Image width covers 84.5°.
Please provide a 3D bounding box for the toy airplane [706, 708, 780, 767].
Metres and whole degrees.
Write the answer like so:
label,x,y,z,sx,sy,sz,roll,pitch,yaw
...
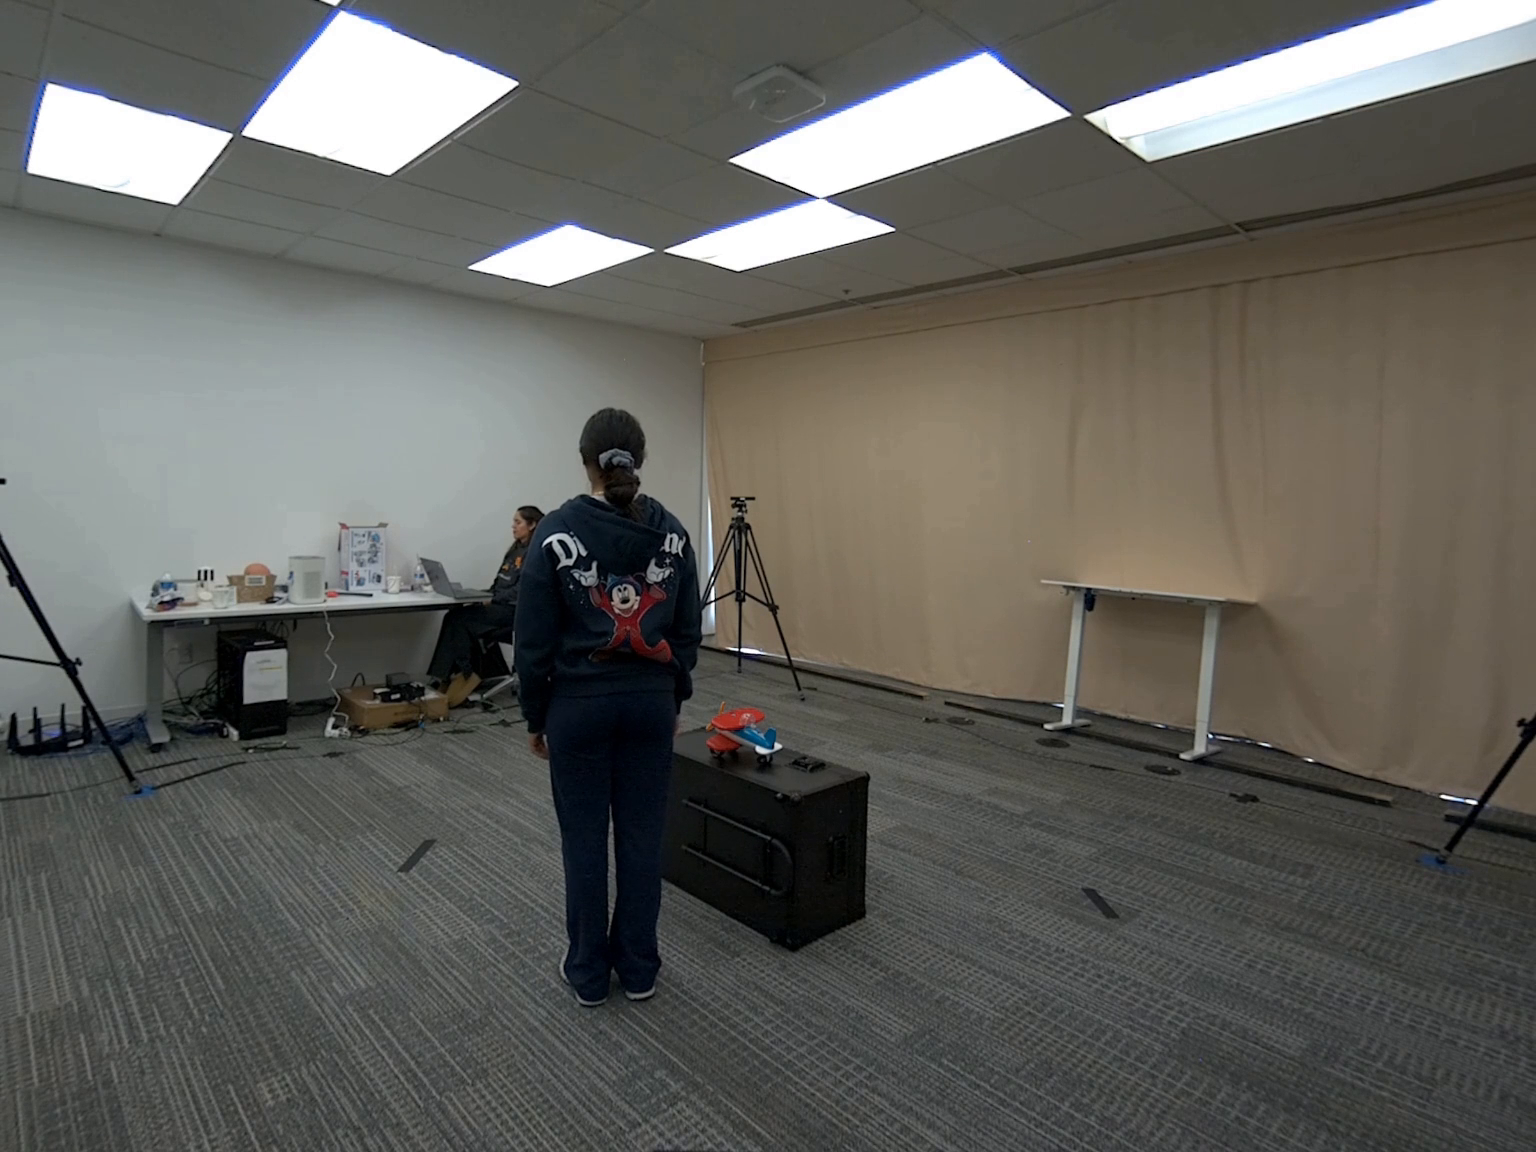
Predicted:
label,x,y,z,sx,sy,sz,roll,pitch,yaw
toy airplane,-0.076,0.561,2.969,0.261,0.156,0.250,2,4,9
